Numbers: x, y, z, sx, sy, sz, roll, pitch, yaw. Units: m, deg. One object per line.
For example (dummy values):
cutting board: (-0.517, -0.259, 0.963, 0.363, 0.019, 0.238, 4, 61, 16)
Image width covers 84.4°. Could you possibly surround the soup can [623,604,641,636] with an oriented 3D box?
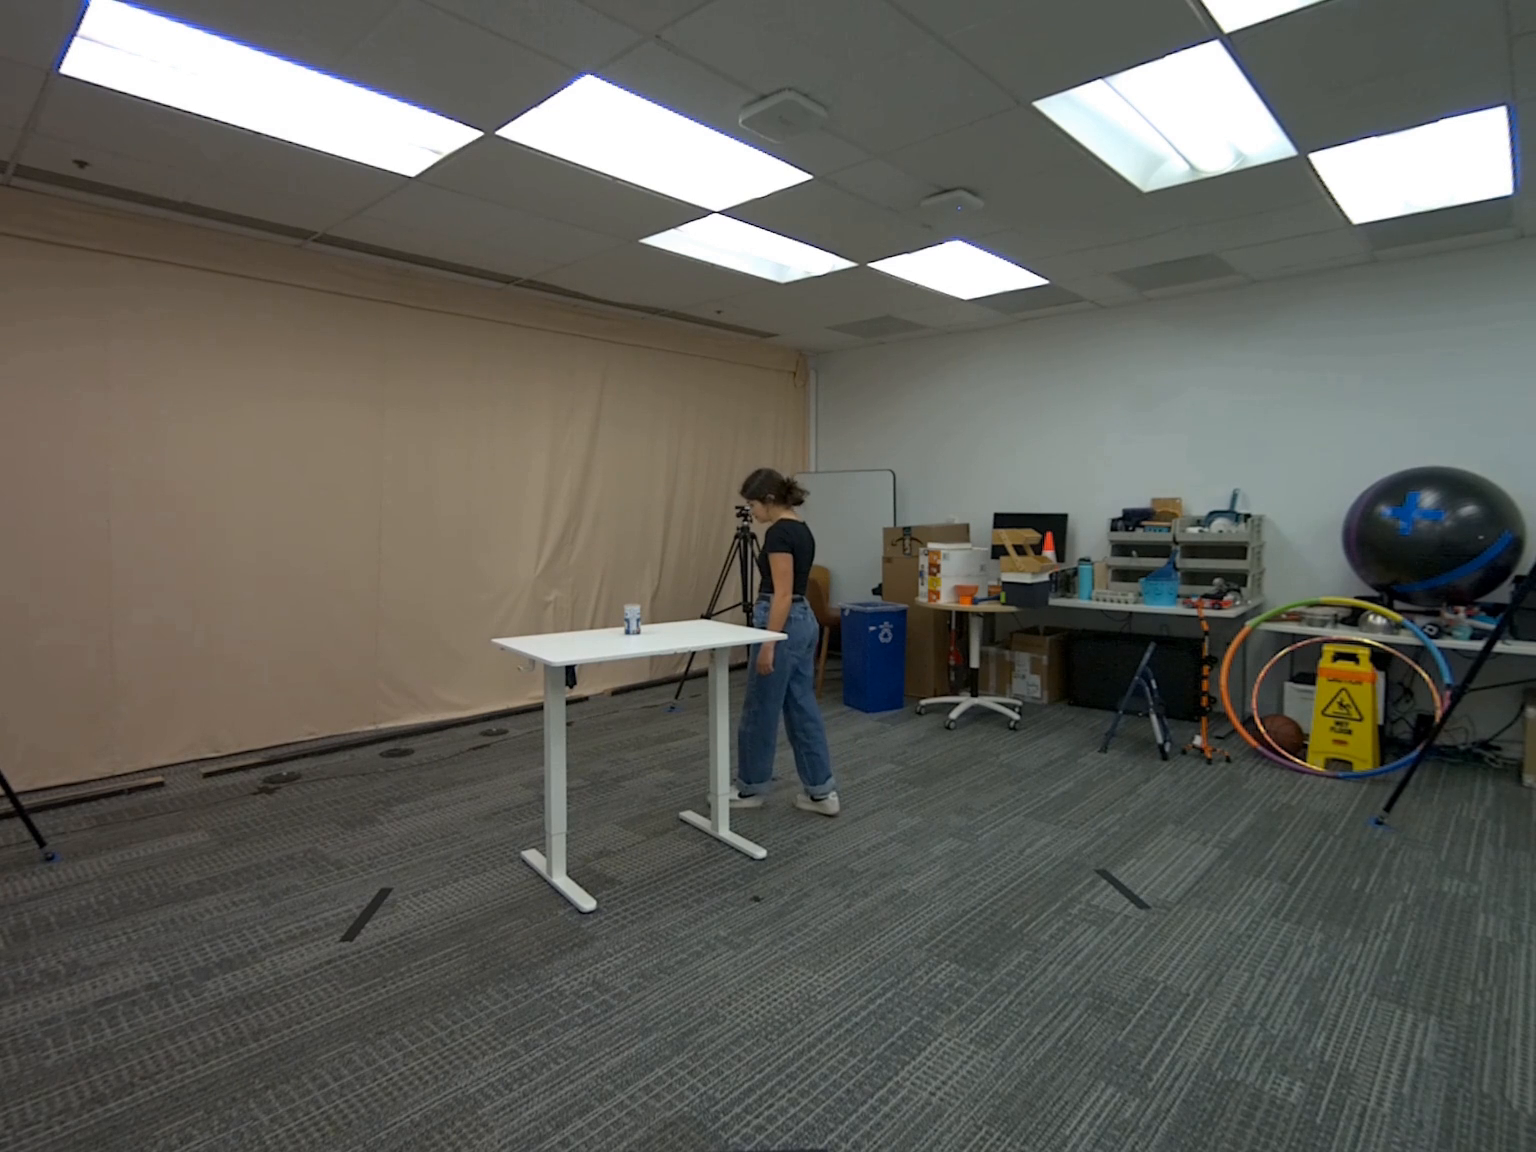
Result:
soup can: (-0.549, 0.174, 3.384, 0.067, 0.121, 0.067, 0, 3, -2)
